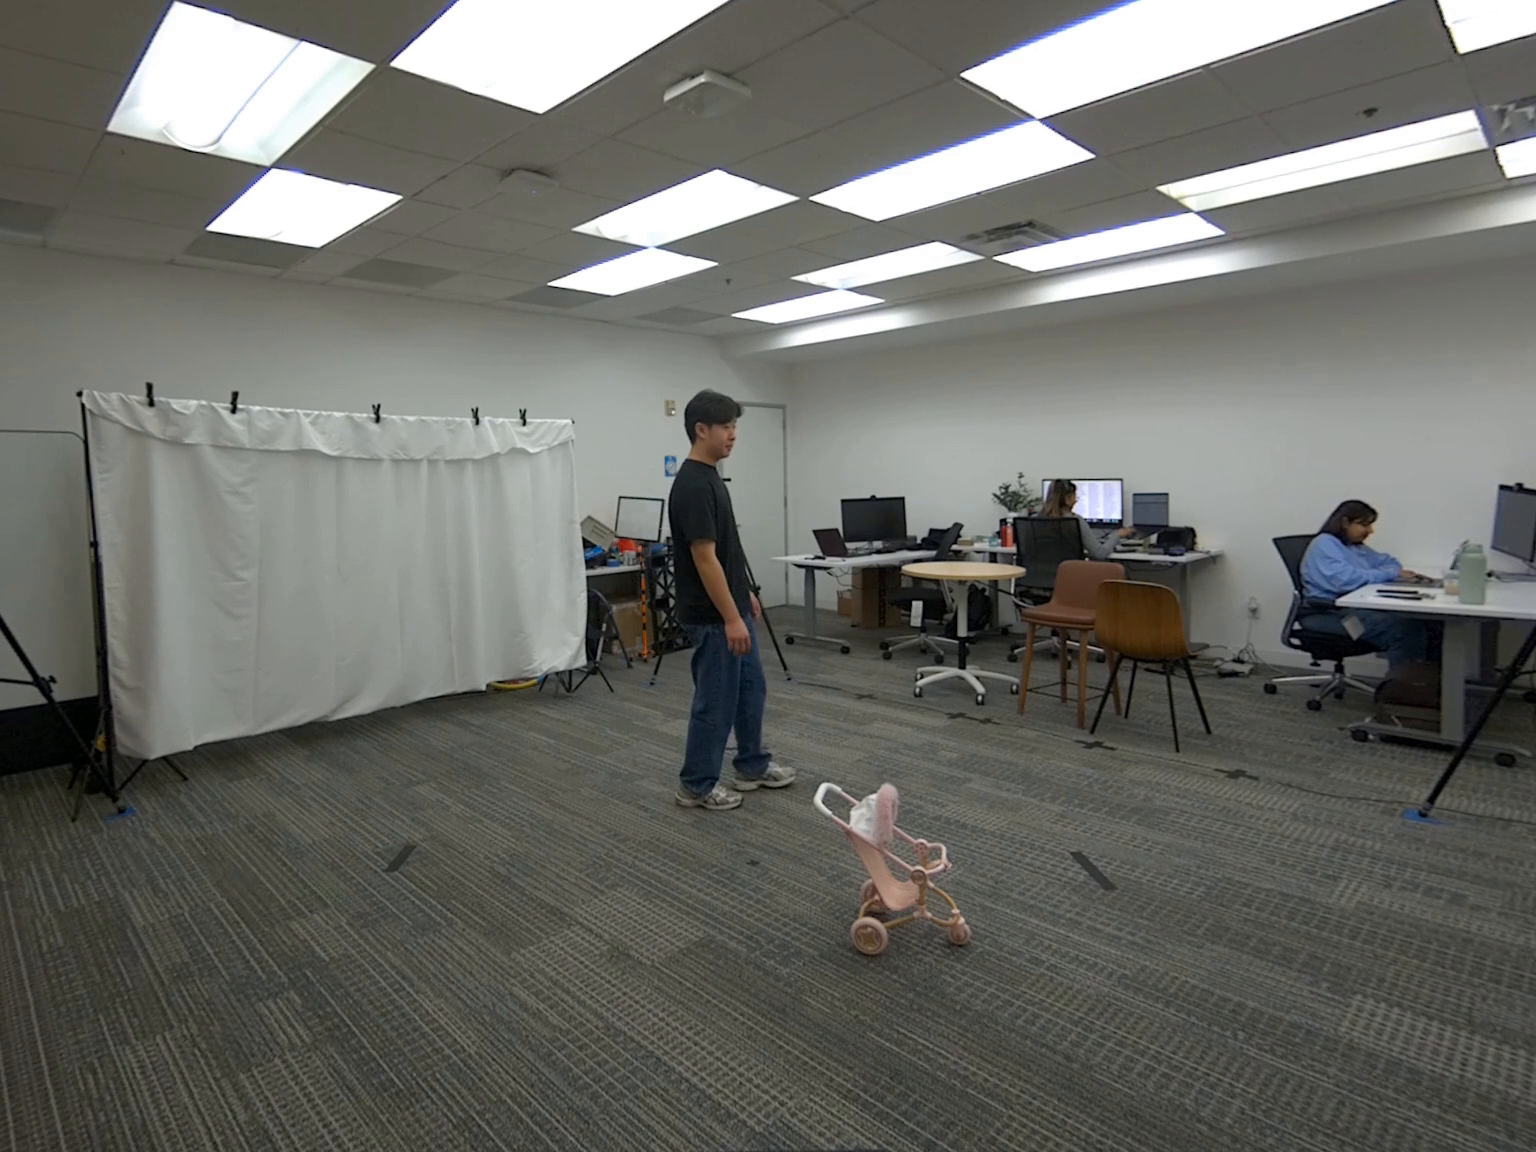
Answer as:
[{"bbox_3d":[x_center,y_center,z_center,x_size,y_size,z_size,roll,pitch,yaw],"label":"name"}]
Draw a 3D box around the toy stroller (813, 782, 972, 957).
[{"bbox_3d":[0.387,0.873,2.581,0.346,0.536,0.277,-17,-1,20],"label":"toy stroller"}]
